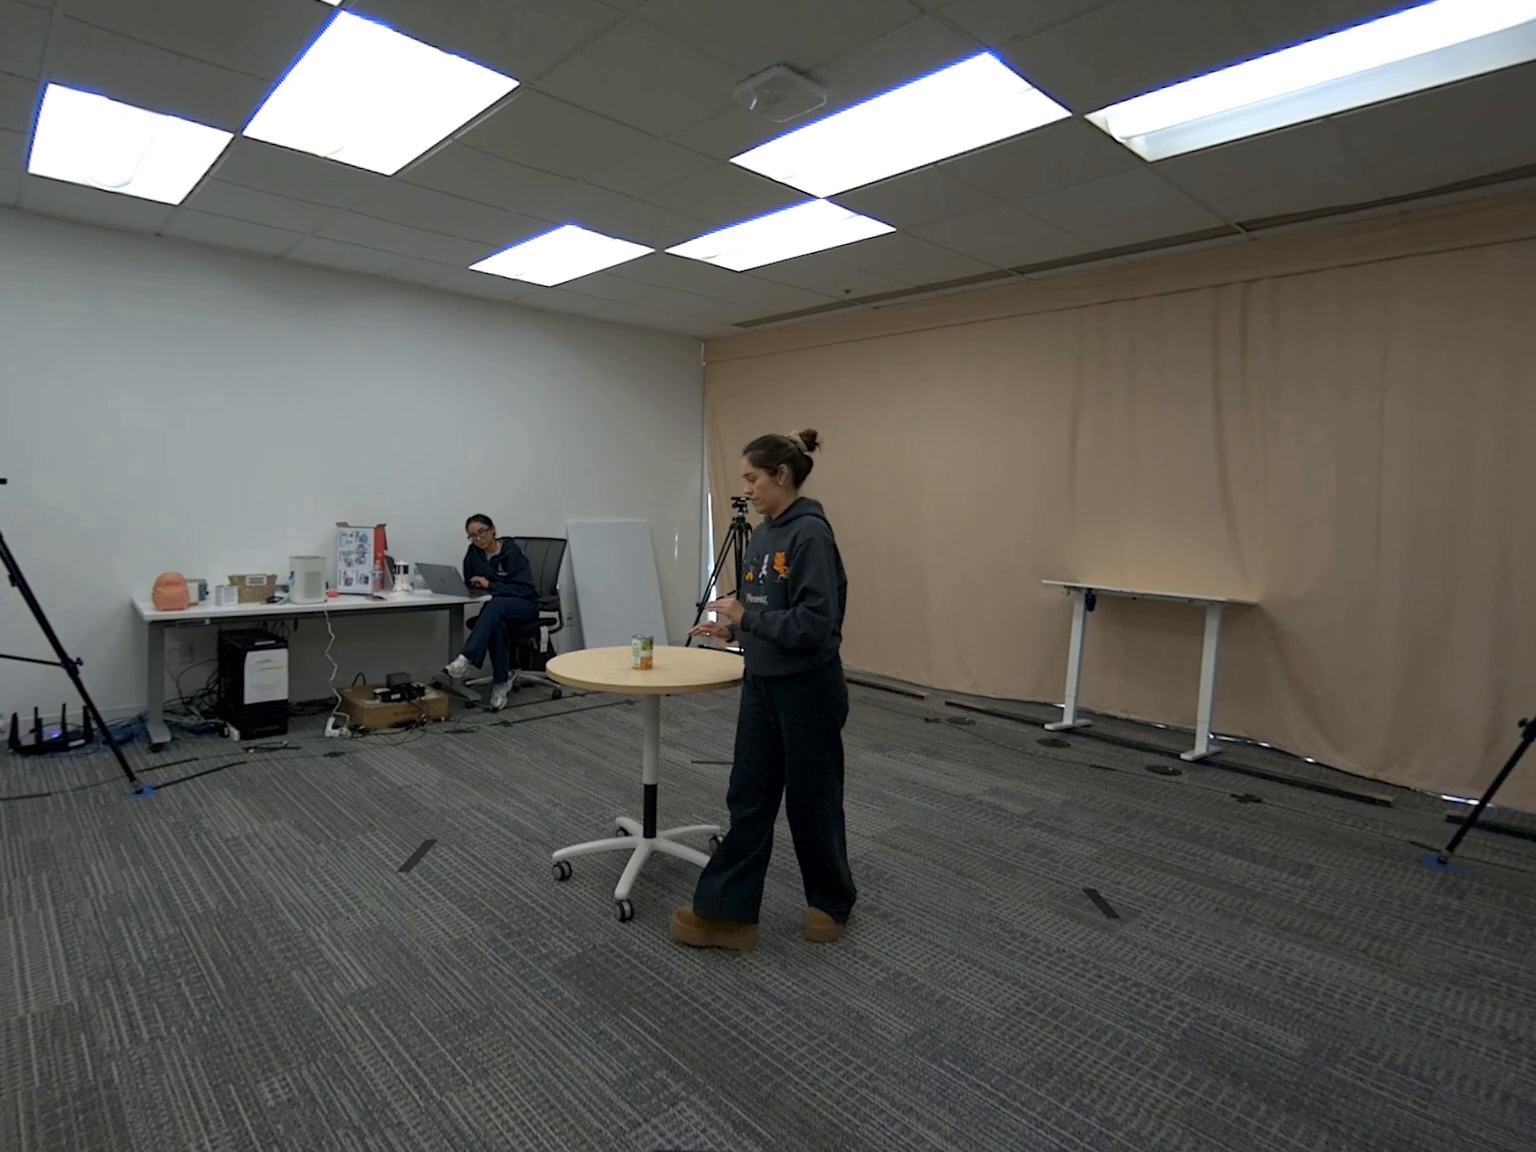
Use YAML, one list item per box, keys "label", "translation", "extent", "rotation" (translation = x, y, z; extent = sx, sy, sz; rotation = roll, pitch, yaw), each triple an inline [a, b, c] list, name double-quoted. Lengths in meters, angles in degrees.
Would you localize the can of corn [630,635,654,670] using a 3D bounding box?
- label: "can of corn"
  translation: [-0.455, 0.272, 2.982]
  extent: [0.074, 0.111, 0.074]
  rotation: [-2, 4, -1]
